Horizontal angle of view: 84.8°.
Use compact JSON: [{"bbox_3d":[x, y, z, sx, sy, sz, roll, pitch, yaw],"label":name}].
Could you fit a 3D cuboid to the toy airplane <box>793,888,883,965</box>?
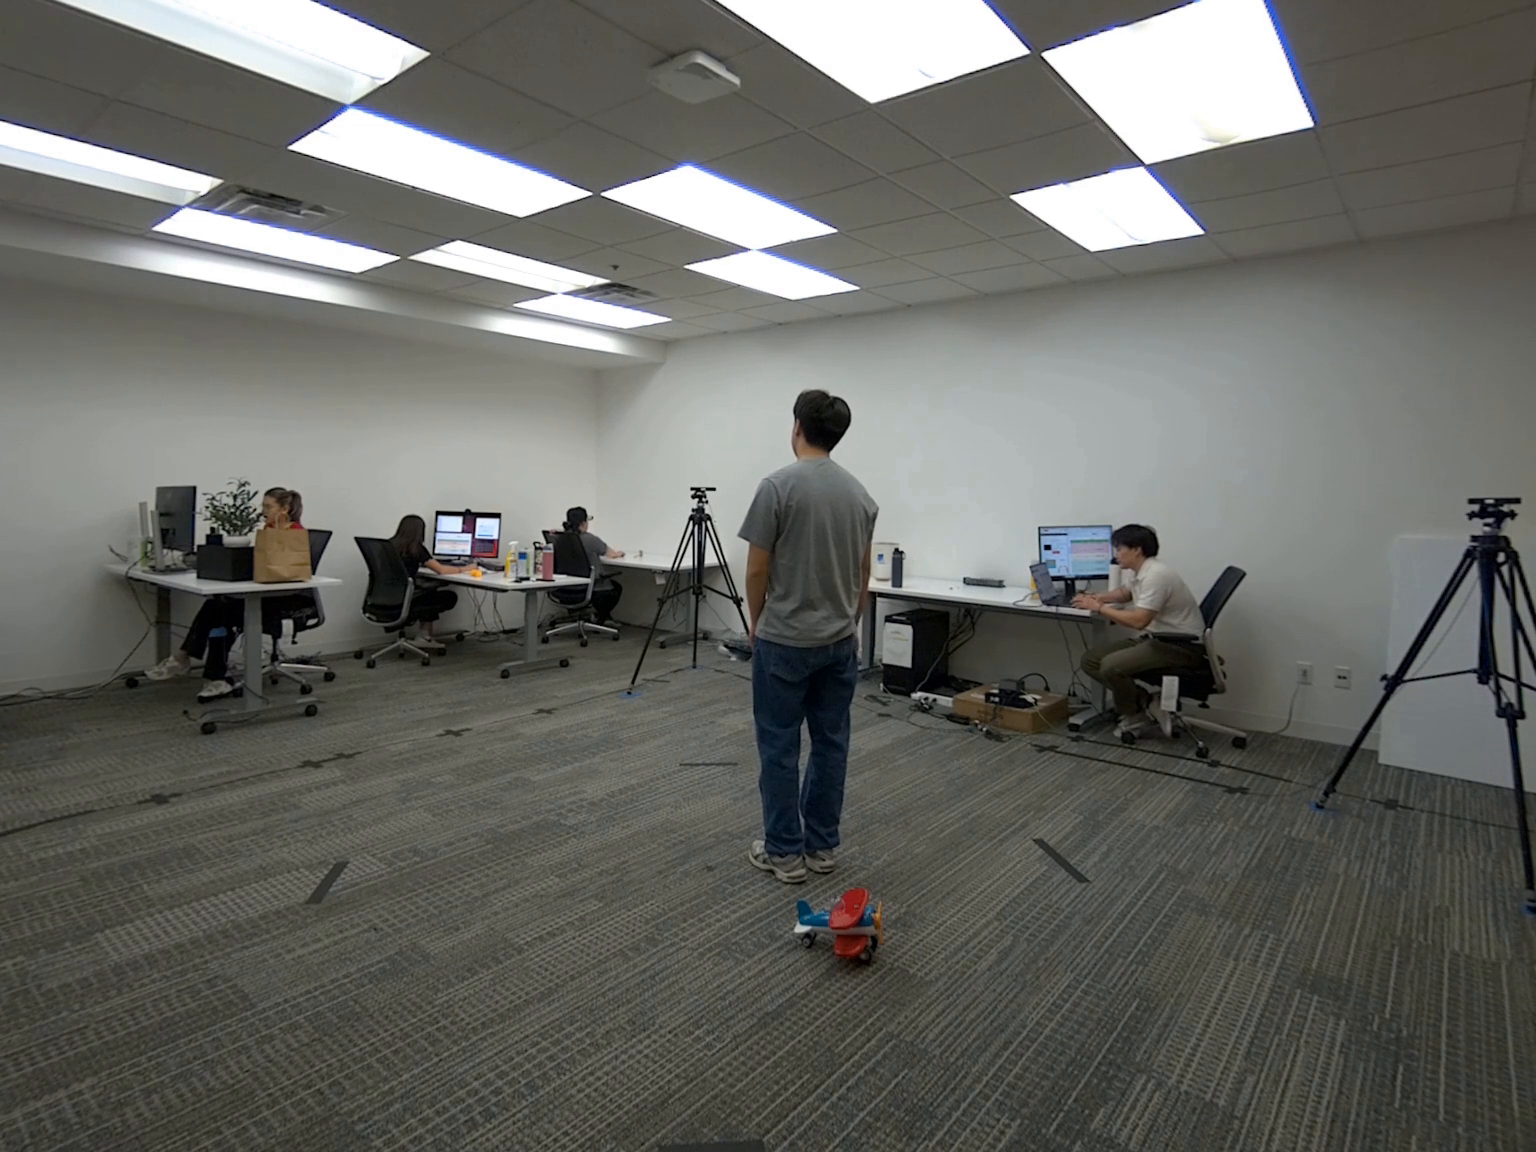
[{"bbox_3d":[0.203,1.053,2.558,0.257,0.156,0.254,2,5,-9],"label":"toy airplane"}]
